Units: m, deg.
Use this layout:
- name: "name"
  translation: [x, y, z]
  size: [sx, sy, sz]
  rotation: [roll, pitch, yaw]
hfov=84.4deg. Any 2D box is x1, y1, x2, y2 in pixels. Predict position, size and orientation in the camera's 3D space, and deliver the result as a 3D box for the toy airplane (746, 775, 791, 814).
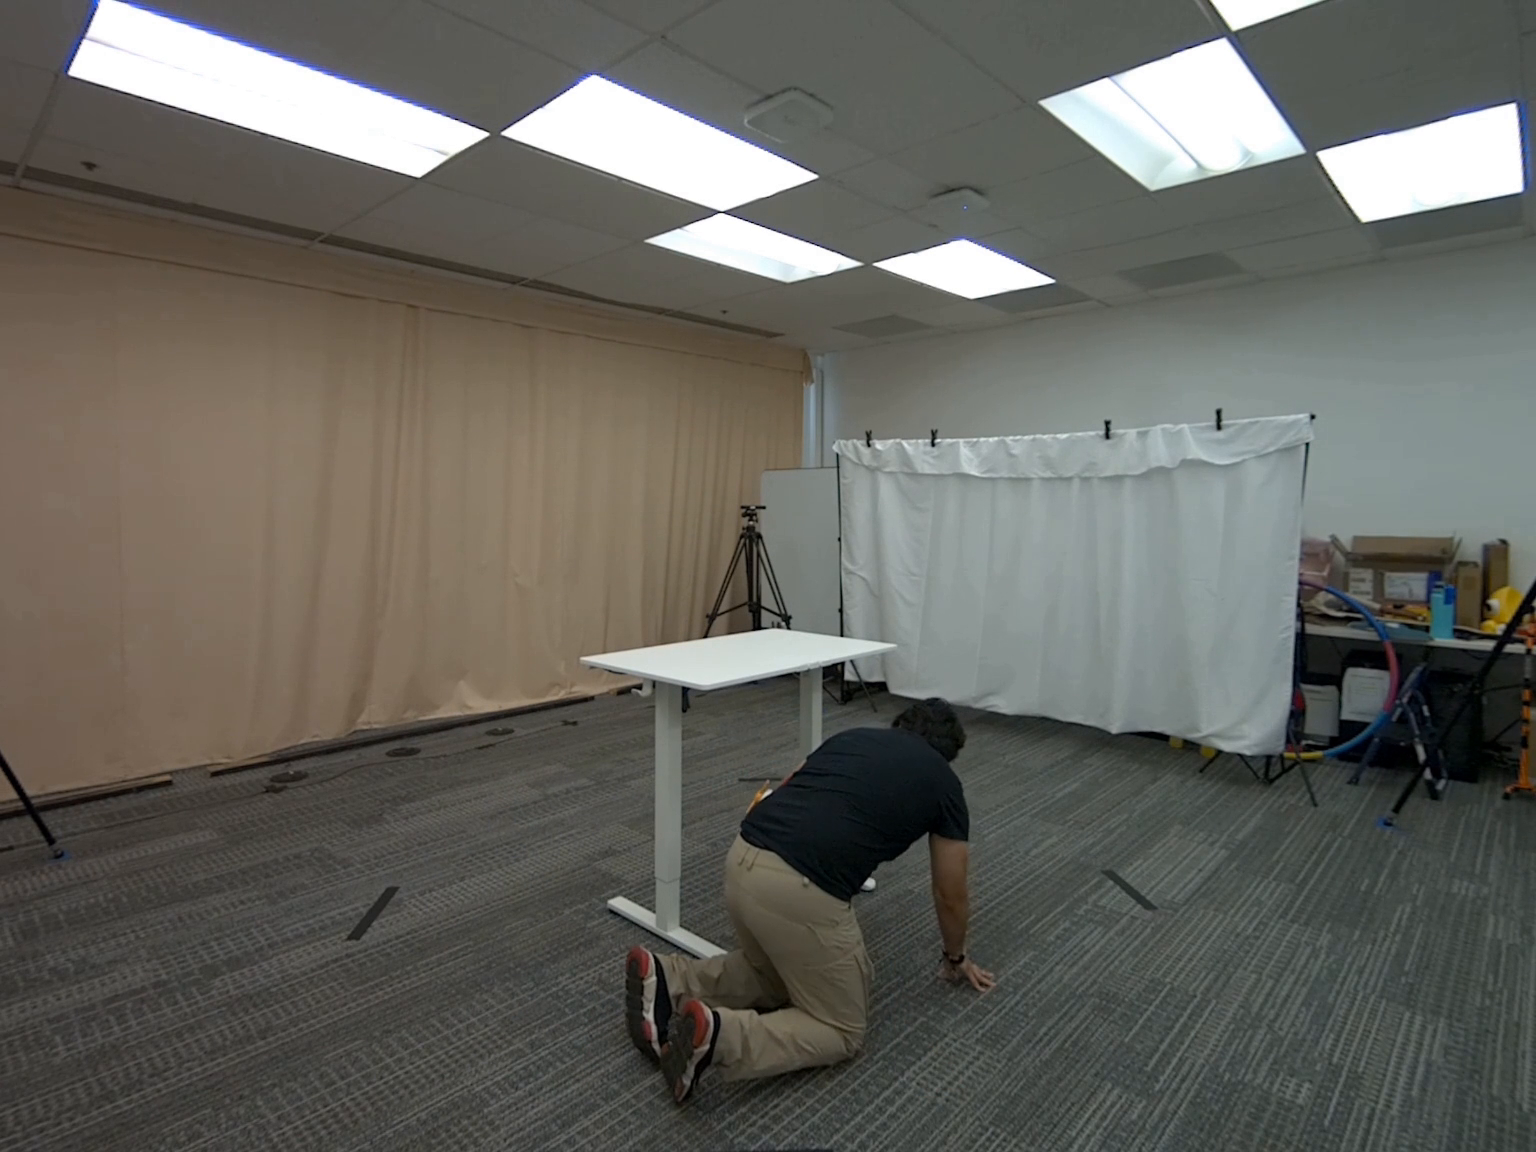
- name: "toy airplane"
  translation: [0.083, 0.727, 2.433]
  size: [0.251, 0.260, 0.156]
  rotation: [-31, -4, -2]
